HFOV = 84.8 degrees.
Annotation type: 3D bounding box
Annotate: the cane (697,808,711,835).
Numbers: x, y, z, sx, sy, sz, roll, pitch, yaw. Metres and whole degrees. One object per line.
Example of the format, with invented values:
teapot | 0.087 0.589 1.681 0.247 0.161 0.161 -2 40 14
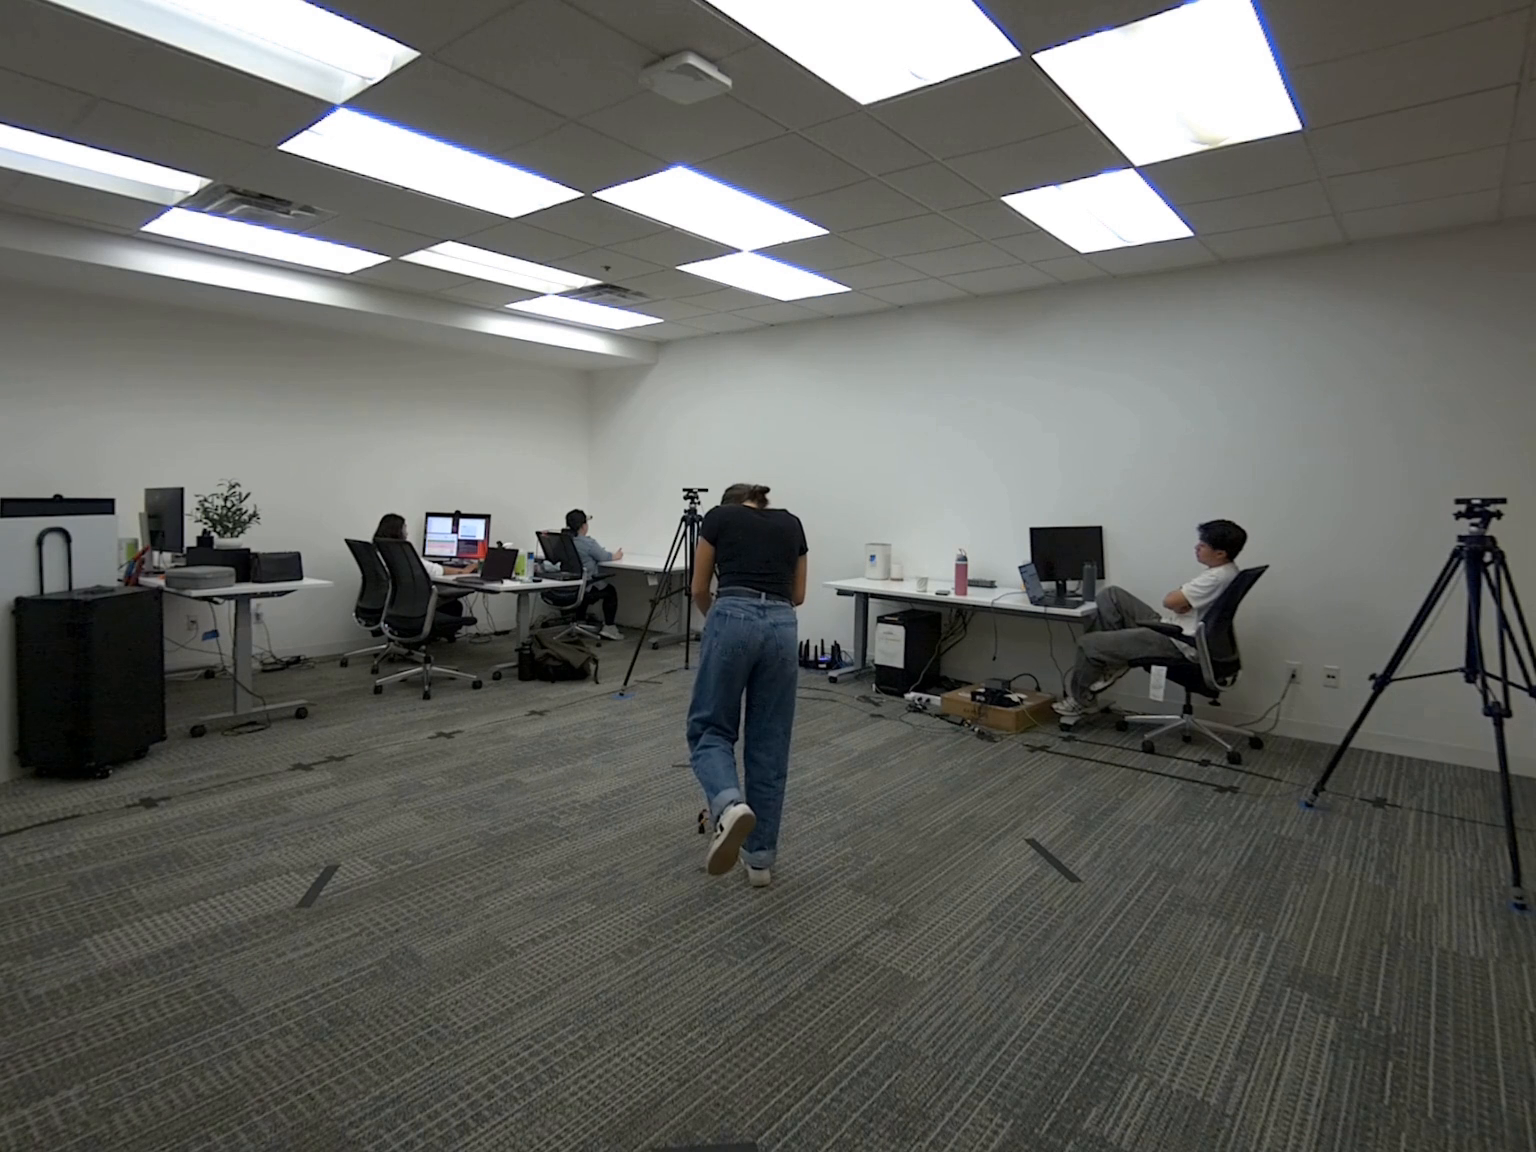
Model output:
cane | -0.171 0.565 3.499 0.206 0.906 0.152 0 2 -4
